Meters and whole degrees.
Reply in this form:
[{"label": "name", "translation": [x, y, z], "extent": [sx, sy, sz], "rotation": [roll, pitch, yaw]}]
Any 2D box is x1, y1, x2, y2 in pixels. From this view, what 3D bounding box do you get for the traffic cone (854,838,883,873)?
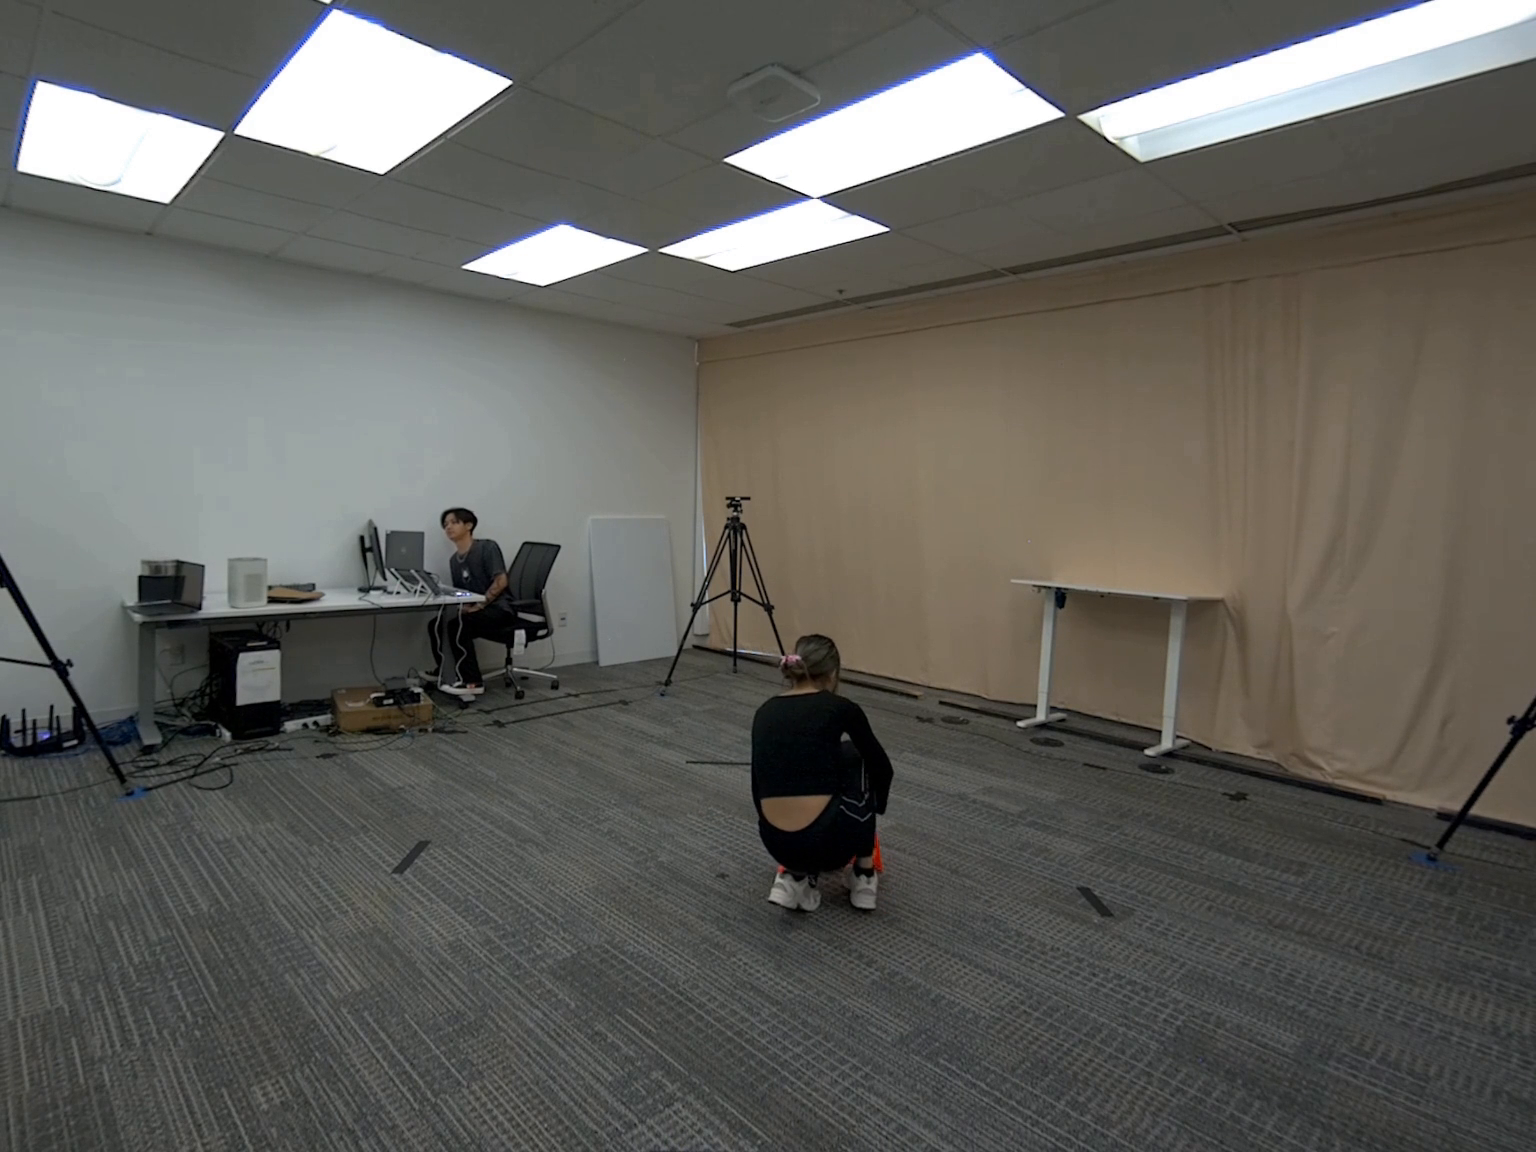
[{"label": "traffic cone", "translation": [0.203, 1.058, 3.179], "extent": [0.379, 0.203, 0.207], "rotation": [-15, 10, -22]}]
